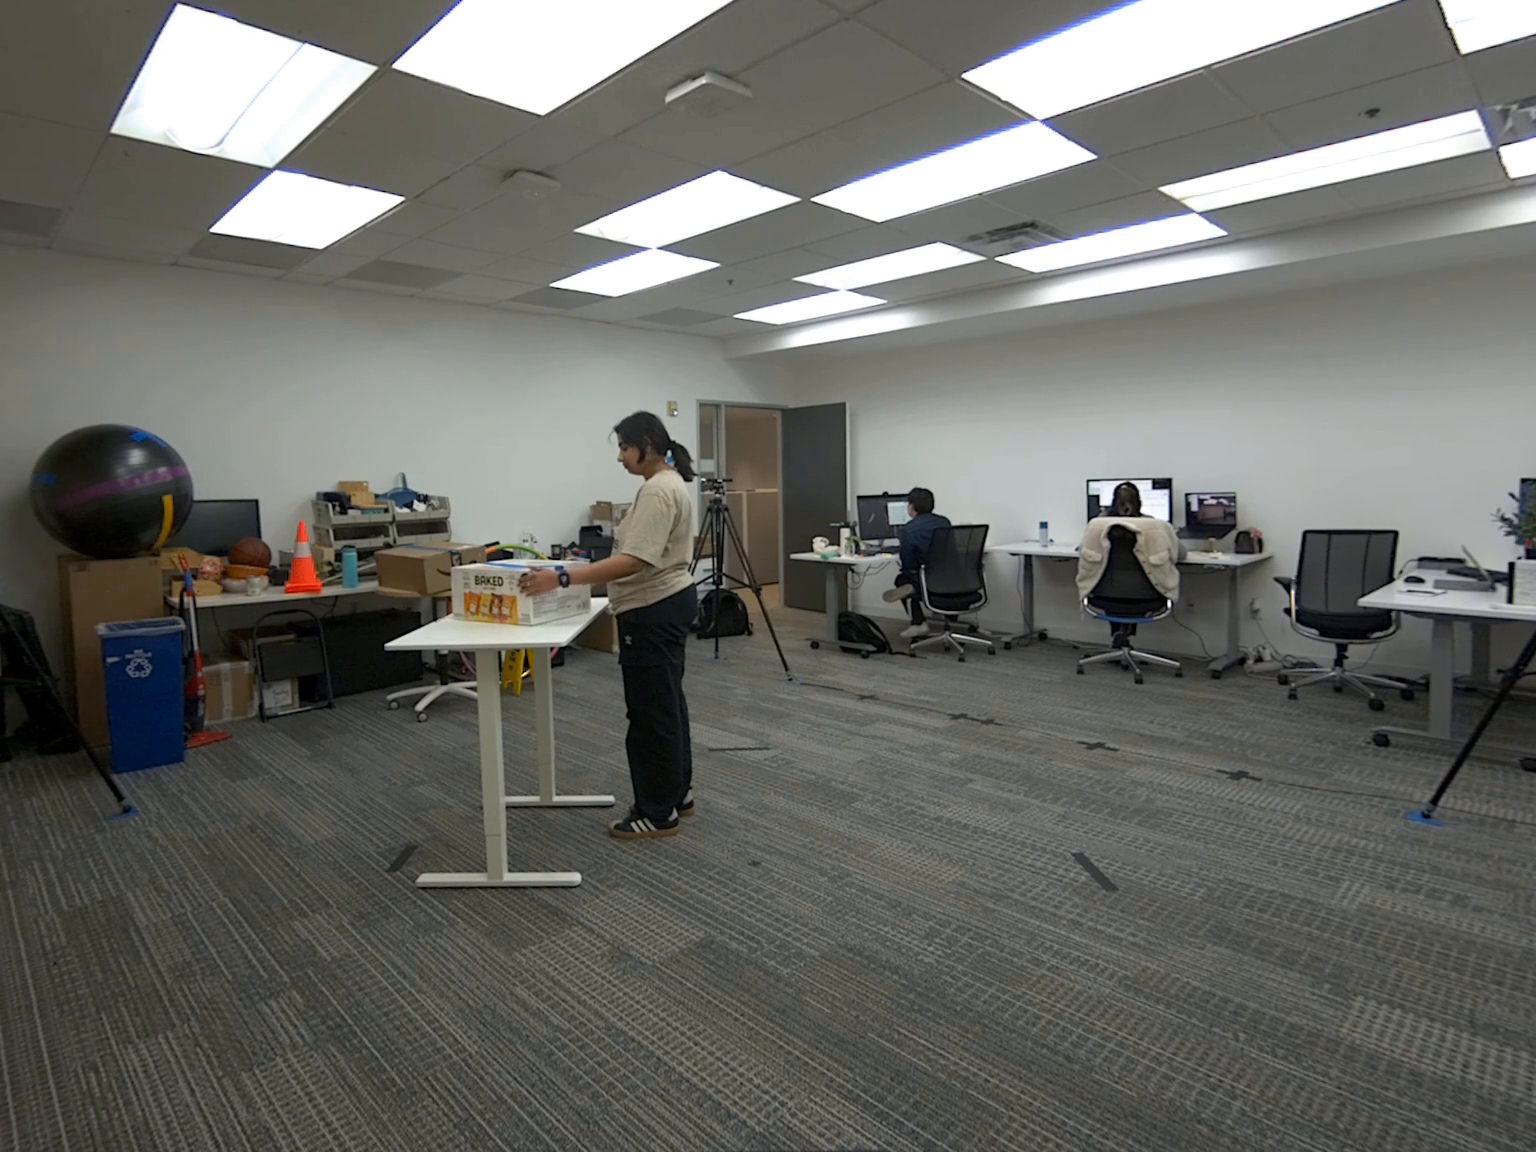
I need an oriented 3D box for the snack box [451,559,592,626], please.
[{"bbox_3d":[-0.954,0.054,3.328,0.416,0.205,0.333,2,7,29],"label":"snack box"}]
